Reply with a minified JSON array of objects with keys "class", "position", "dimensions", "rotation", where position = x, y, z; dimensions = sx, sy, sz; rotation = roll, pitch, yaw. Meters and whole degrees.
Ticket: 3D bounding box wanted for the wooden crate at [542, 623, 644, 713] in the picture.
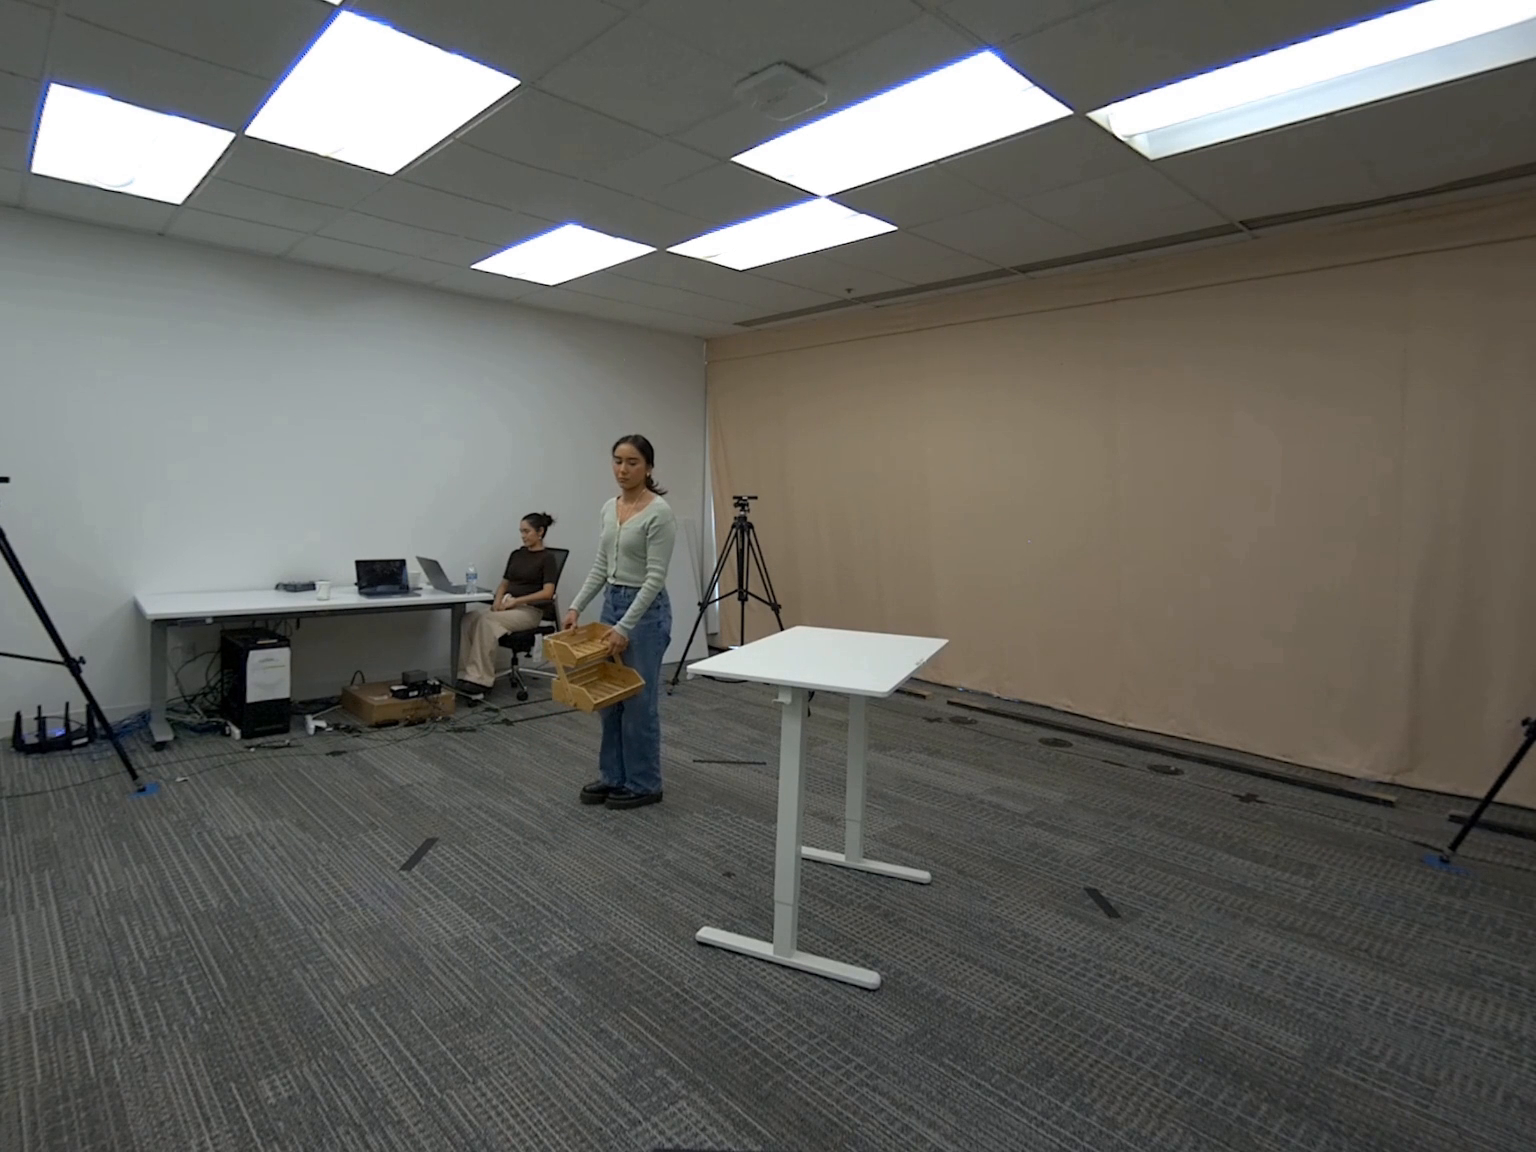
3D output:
[{"class":"wooden crate","position":[-0.751,0.373,3.538],"dimensions":[0.309,0.271,0.319],"rotation":[9,14,32]}]
